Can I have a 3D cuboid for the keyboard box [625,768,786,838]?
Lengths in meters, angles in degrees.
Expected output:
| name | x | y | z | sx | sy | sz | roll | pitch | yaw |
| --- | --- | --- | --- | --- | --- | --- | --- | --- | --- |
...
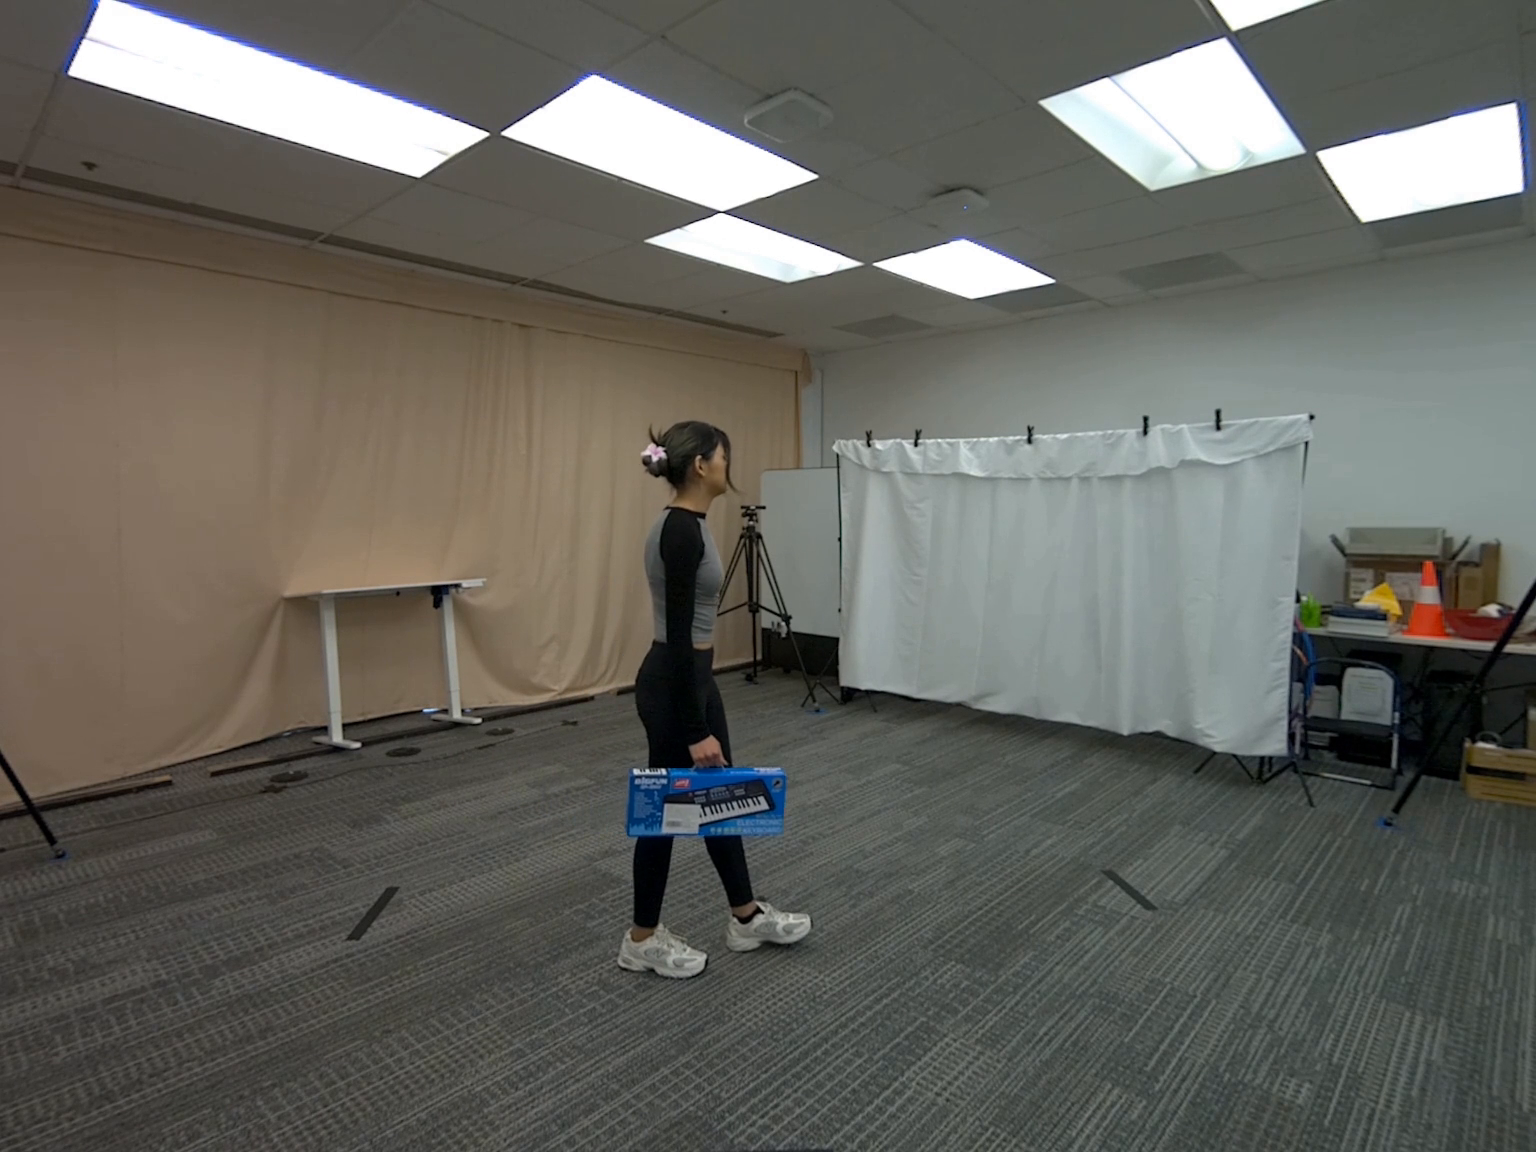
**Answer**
| name | x | y | z | sx | sy | sz | roll | pitch | yaw |
| --- | --- | --- | --- | --- | --- | --- | --- | --- | --- |
| keyboard box | -0.169 | 0.620 | 2.335 | 0.431 | 0.175 | 0.060 | 3 | 3 | -12 |
